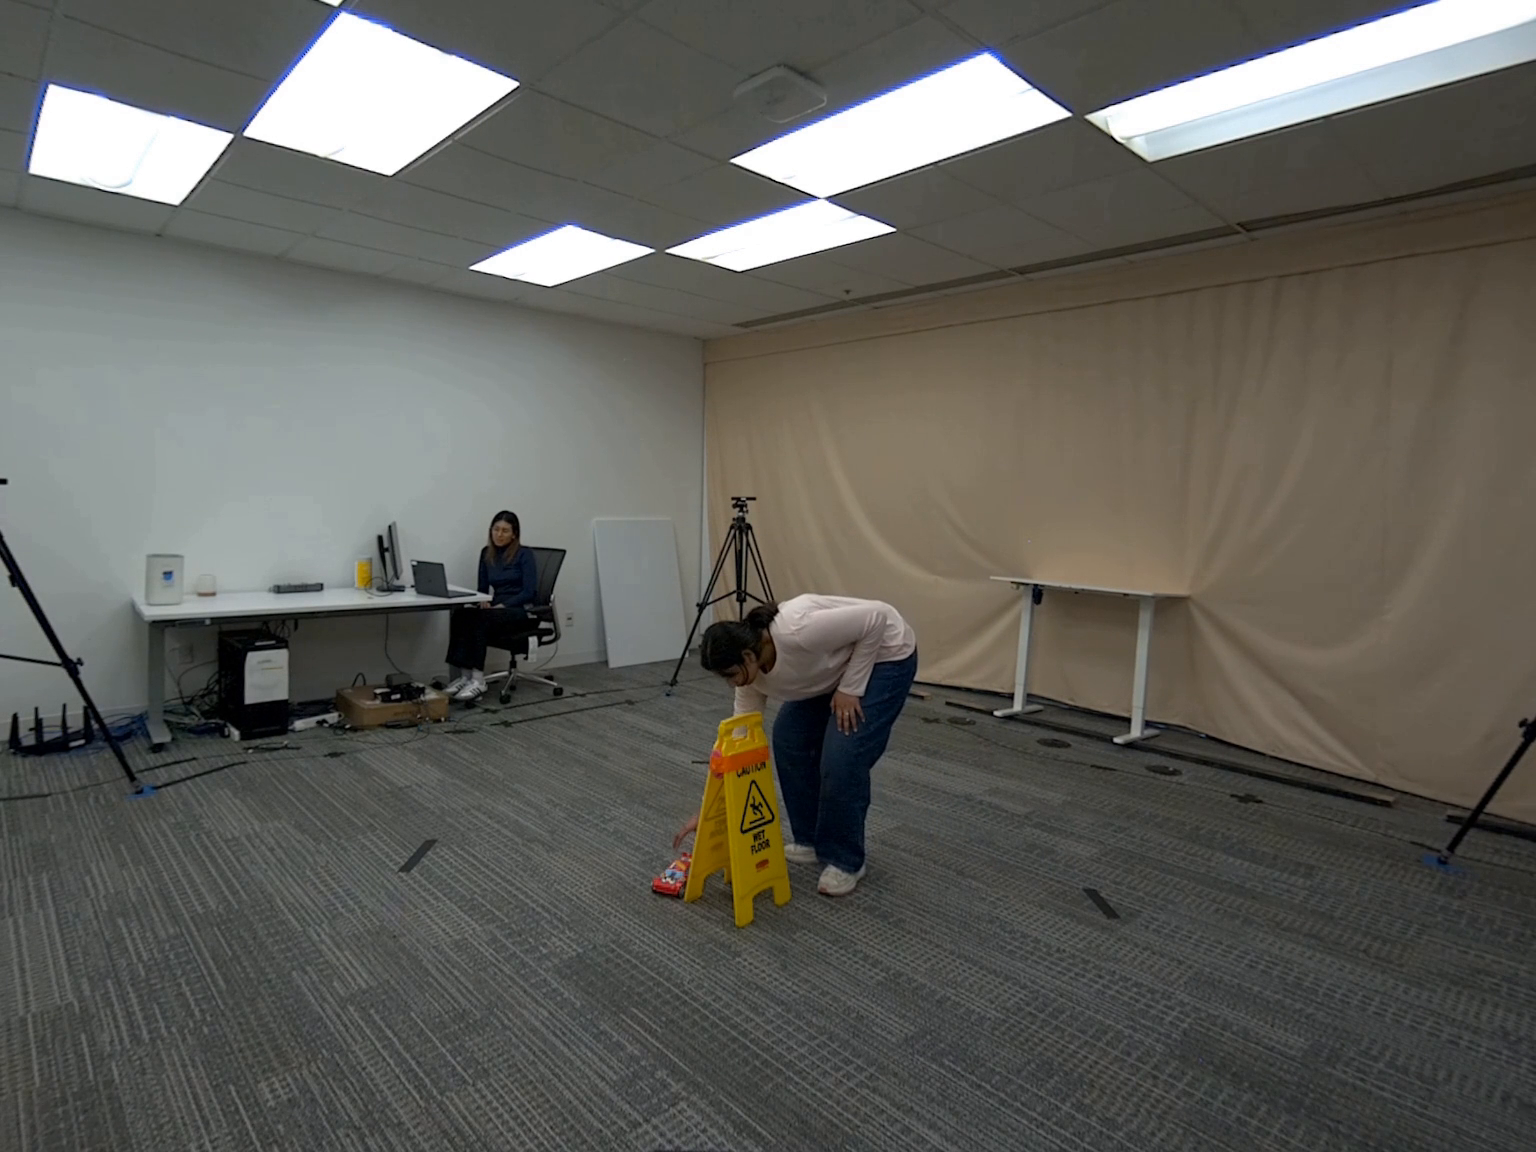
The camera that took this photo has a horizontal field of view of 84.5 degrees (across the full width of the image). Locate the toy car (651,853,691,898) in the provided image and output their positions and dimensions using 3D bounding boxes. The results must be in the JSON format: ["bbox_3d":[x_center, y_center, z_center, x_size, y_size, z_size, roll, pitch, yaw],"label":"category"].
[{"bbox_3d":[-0.317,1.076,3.035,0.132,0.082,0.253,1,16,22],"label":"toy car"}]
